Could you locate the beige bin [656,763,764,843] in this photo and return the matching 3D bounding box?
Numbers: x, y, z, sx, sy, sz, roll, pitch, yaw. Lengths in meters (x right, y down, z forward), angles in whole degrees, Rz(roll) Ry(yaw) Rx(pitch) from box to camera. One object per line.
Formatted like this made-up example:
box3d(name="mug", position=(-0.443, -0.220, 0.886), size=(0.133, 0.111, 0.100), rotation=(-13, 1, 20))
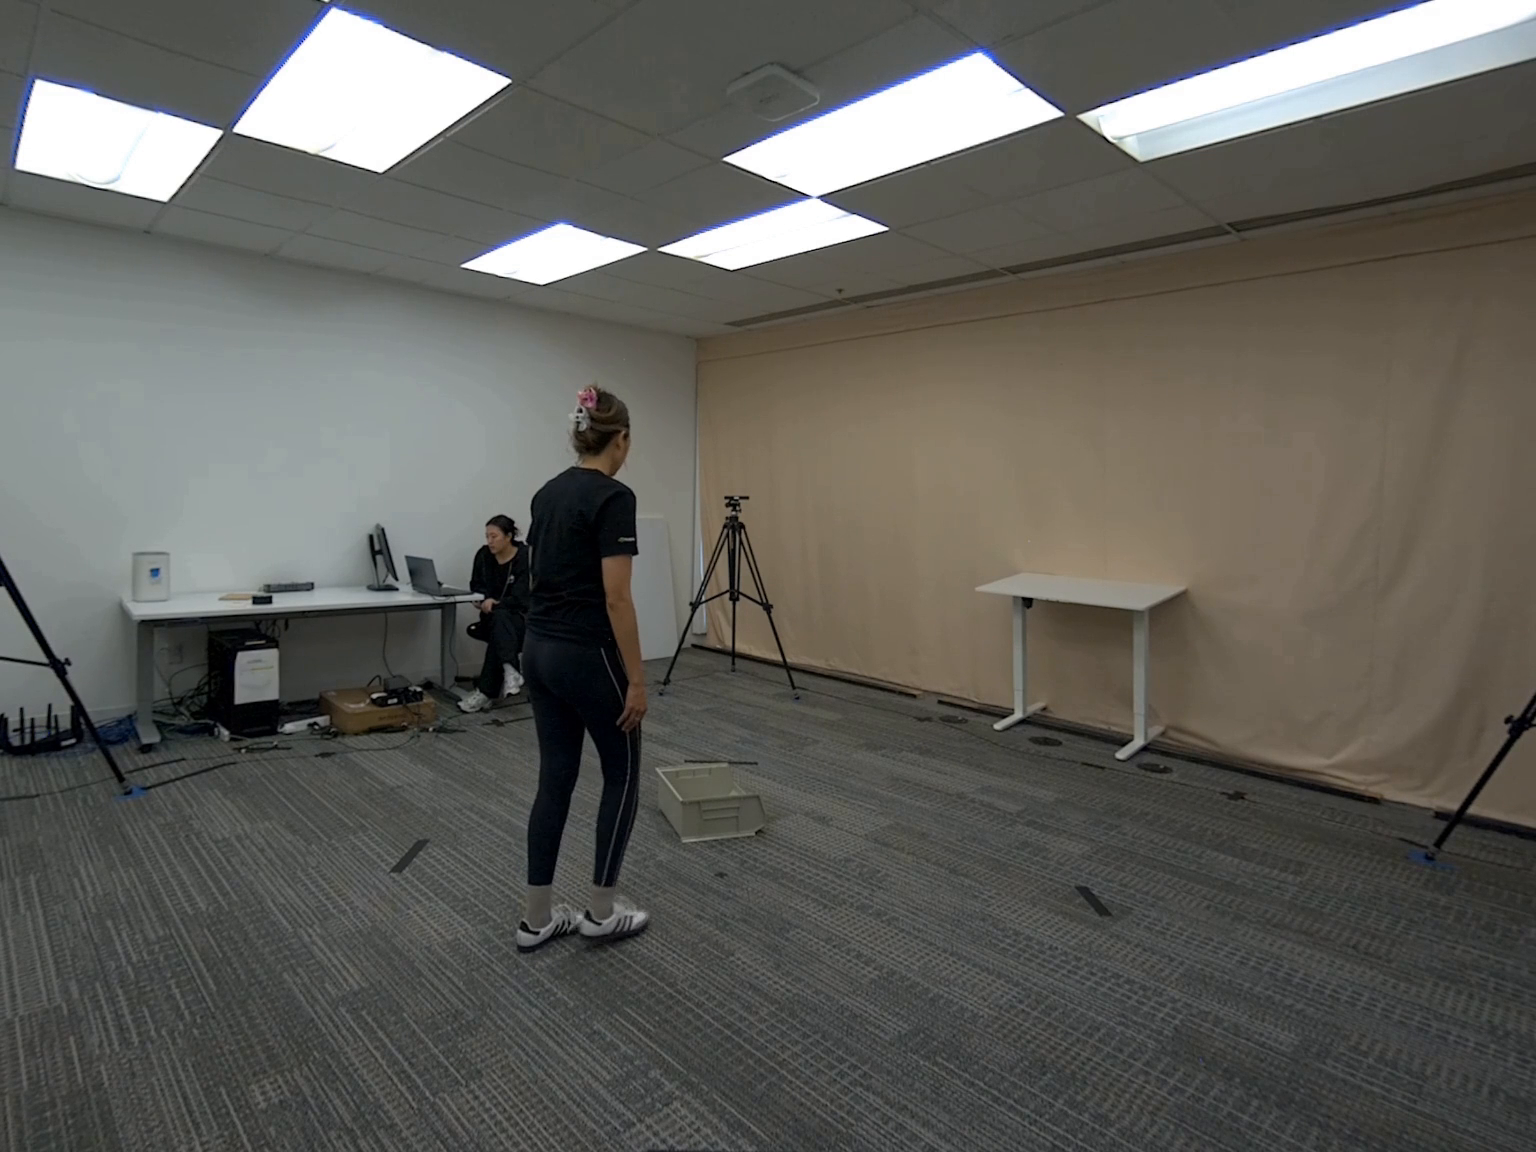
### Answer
box3d(name="beige bin", position=(-0.263, 0.967, 3.626), size=(0.371, 0.188, 0.430), rotation=(-1, 6, -21))
